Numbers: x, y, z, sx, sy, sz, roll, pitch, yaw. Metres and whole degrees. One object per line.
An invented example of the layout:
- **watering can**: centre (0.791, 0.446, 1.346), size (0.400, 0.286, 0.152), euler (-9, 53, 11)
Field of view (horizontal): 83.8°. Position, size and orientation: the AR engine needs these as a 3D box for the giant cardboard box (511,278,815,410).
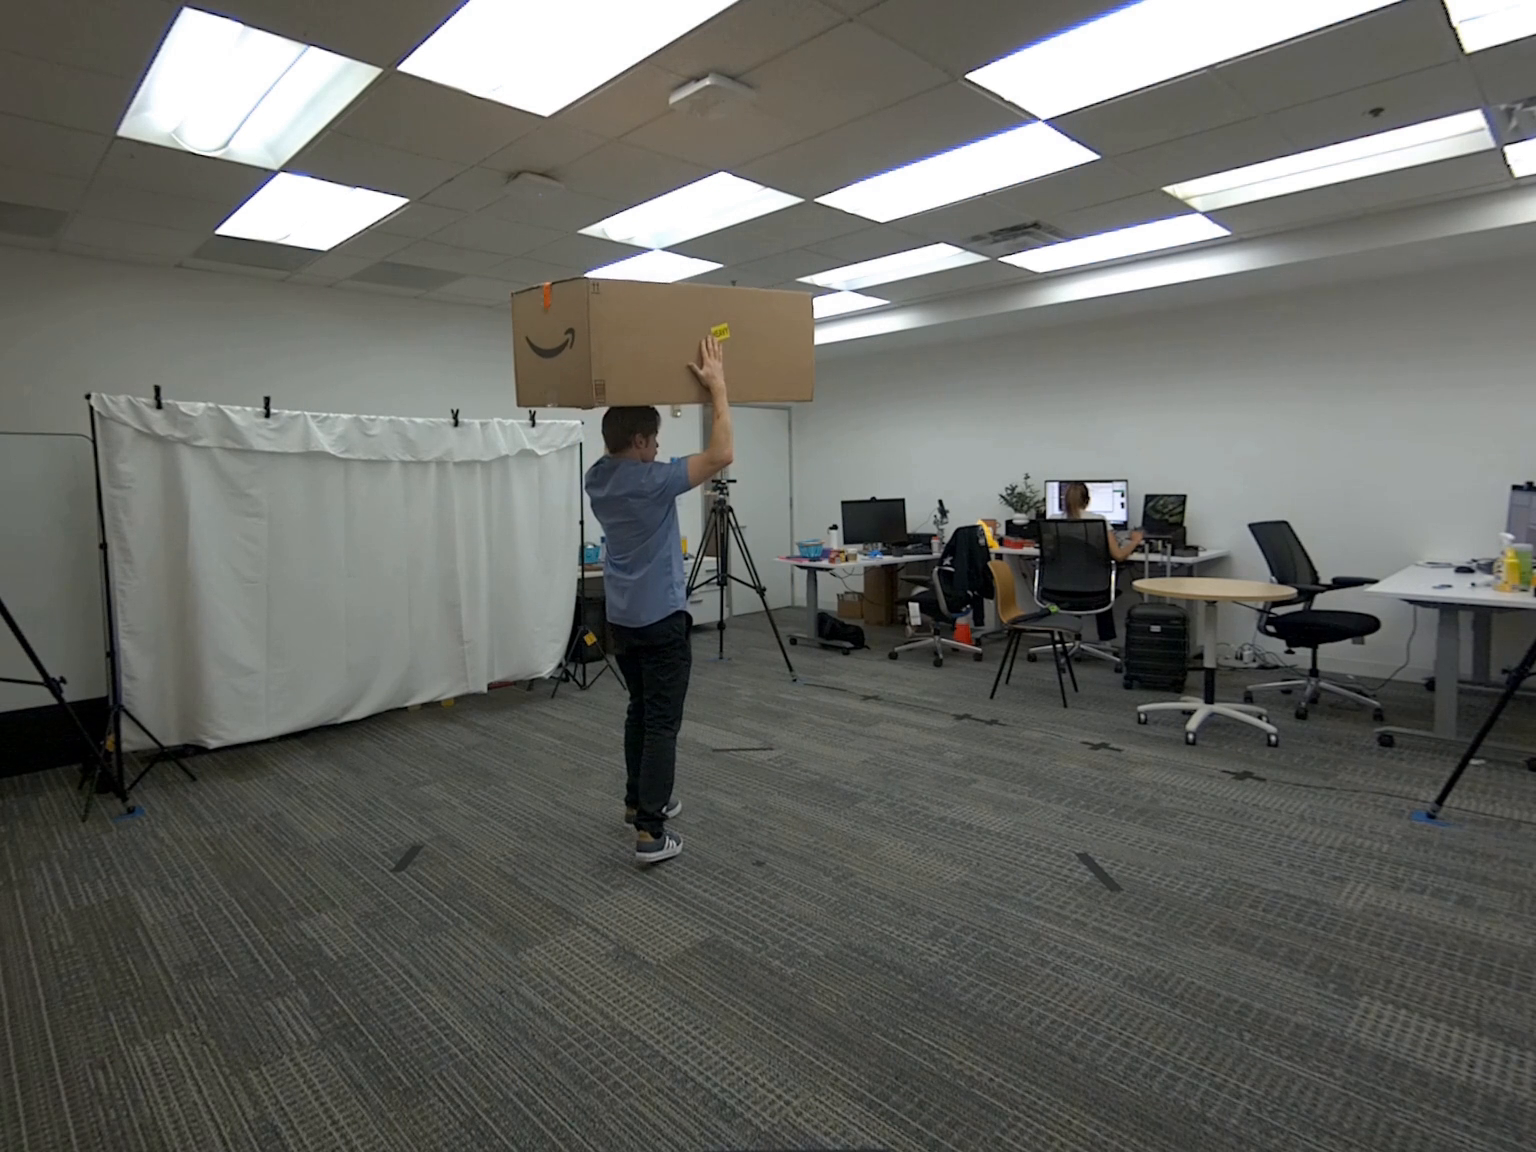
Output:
- **giant cardboard box**: centre (-0.387, -0.878, 3.302), size (1.002, 0.422, 0.597), euler (-10, 15, -39)
